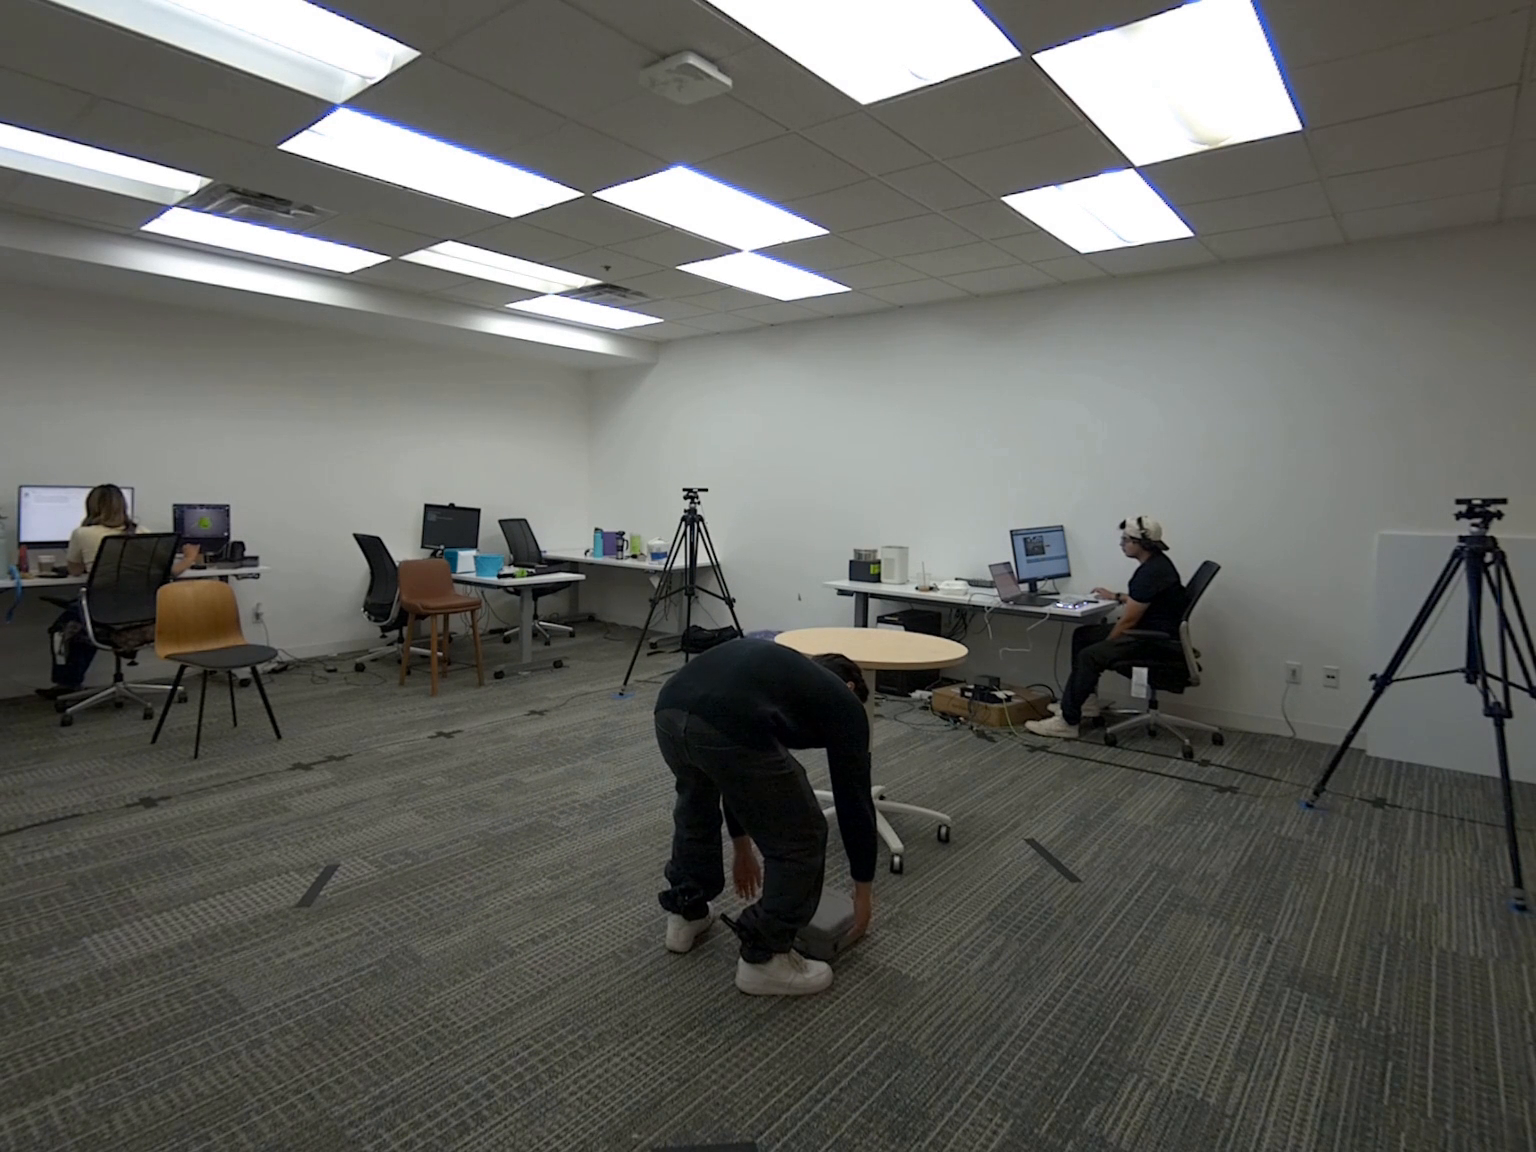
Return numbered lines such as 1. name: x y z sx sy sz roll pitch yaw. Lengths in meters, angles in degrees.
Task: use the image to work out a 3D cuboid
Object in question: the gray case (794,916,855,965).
1. gray case: 0.146 1.061 2.654 0.266 0.104 0.253 7 8 38
